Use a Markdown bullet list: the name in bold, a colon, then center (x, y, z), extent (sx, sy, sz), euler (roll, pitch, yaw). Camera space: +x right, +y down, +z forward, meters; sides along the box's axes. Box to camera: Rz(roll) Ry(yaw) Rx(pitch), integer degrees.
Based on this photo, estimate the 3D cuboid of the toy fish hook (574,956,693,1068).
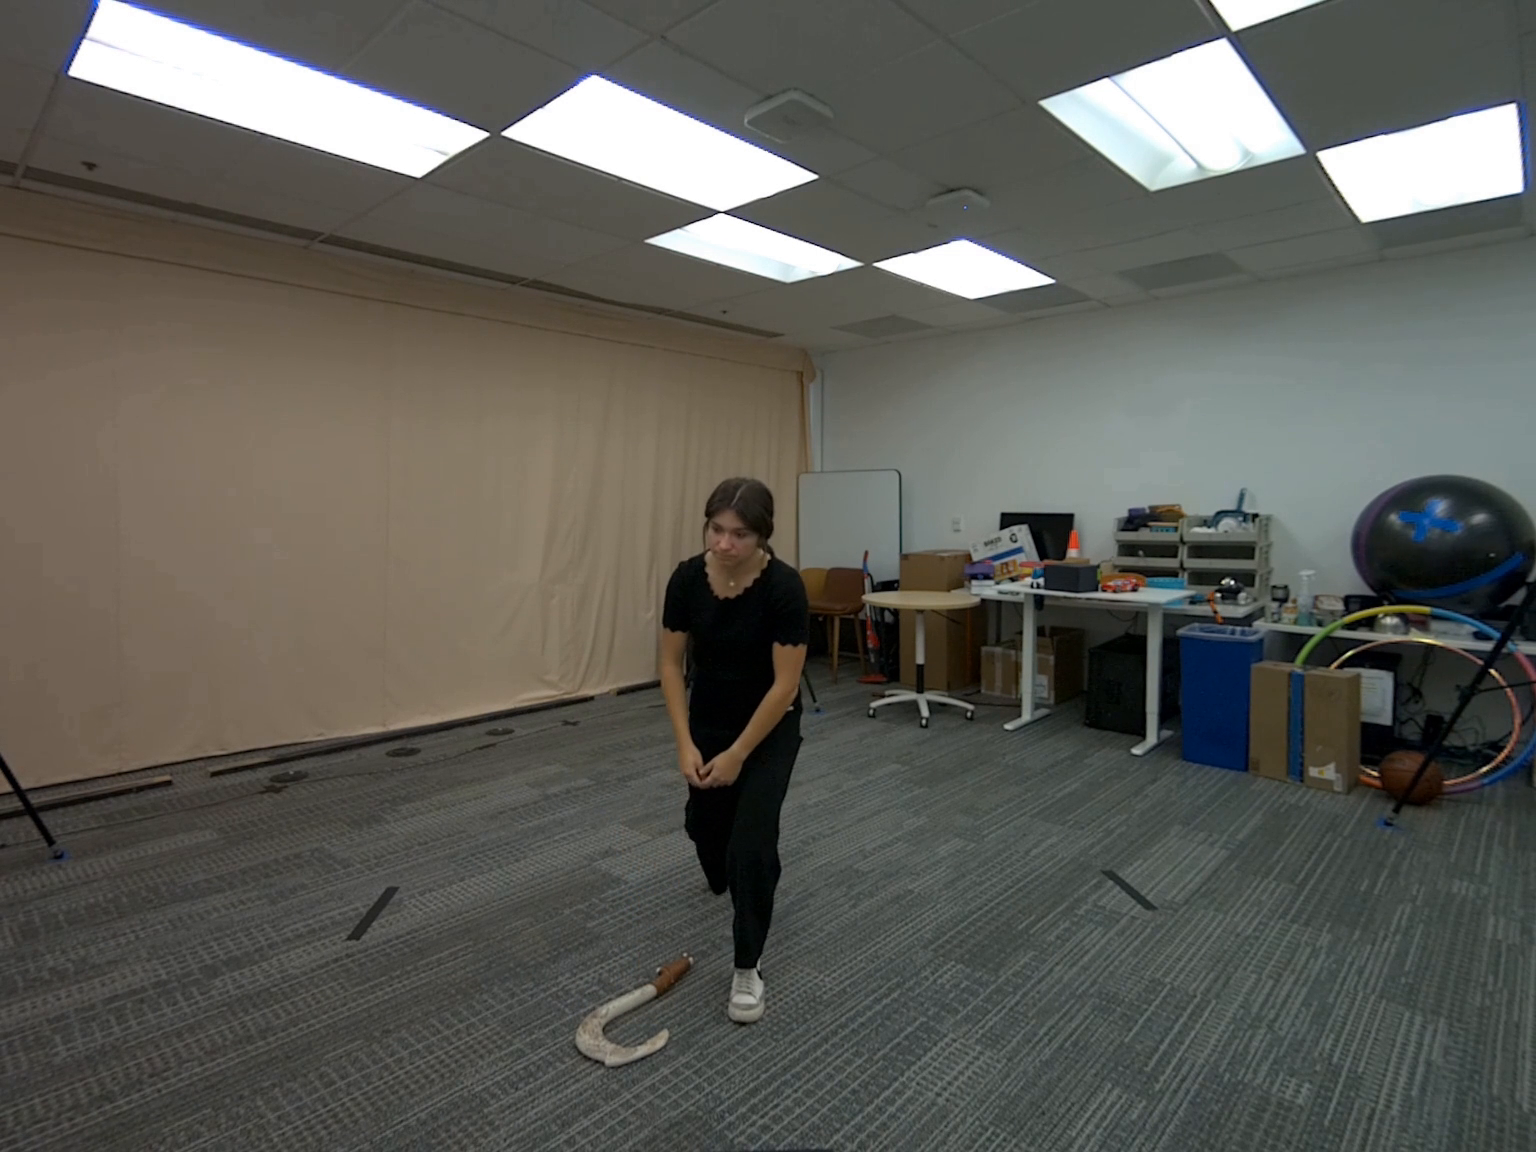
- **toy fish hook**: center (-0.309, 1.186, 2.313), extent (0.231, 0.048, 0.493), euler (11, 10, 29)
